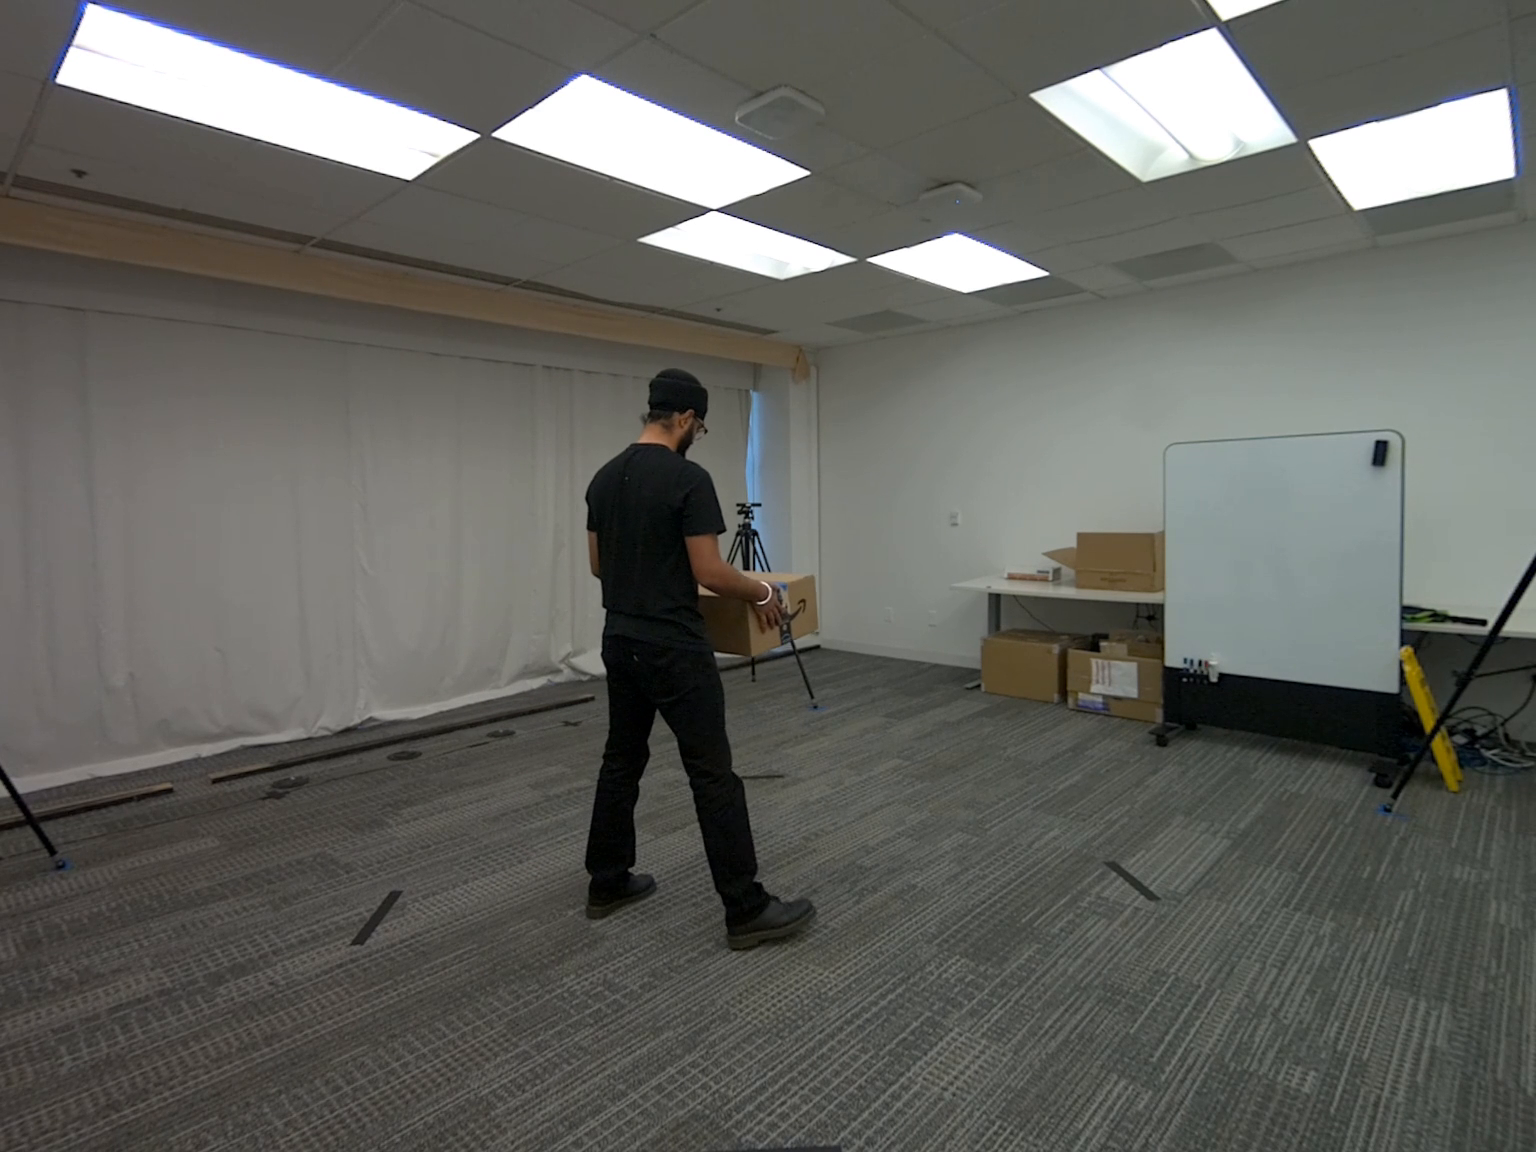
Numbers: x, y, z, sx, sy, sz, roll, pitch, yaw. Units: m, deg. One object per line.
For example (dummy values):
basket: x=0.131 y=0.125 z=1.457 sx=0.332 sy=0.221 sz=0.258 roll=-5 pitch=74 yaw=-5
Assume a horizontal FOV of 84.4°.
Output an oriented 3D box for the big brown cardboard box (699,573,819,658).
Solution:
big brown cardboard box: x=-0.161 y=0.122 z=3.221 sx=0.608 sy=0.231 sz=0.407 roll=4 pitch=13 yaw=39
